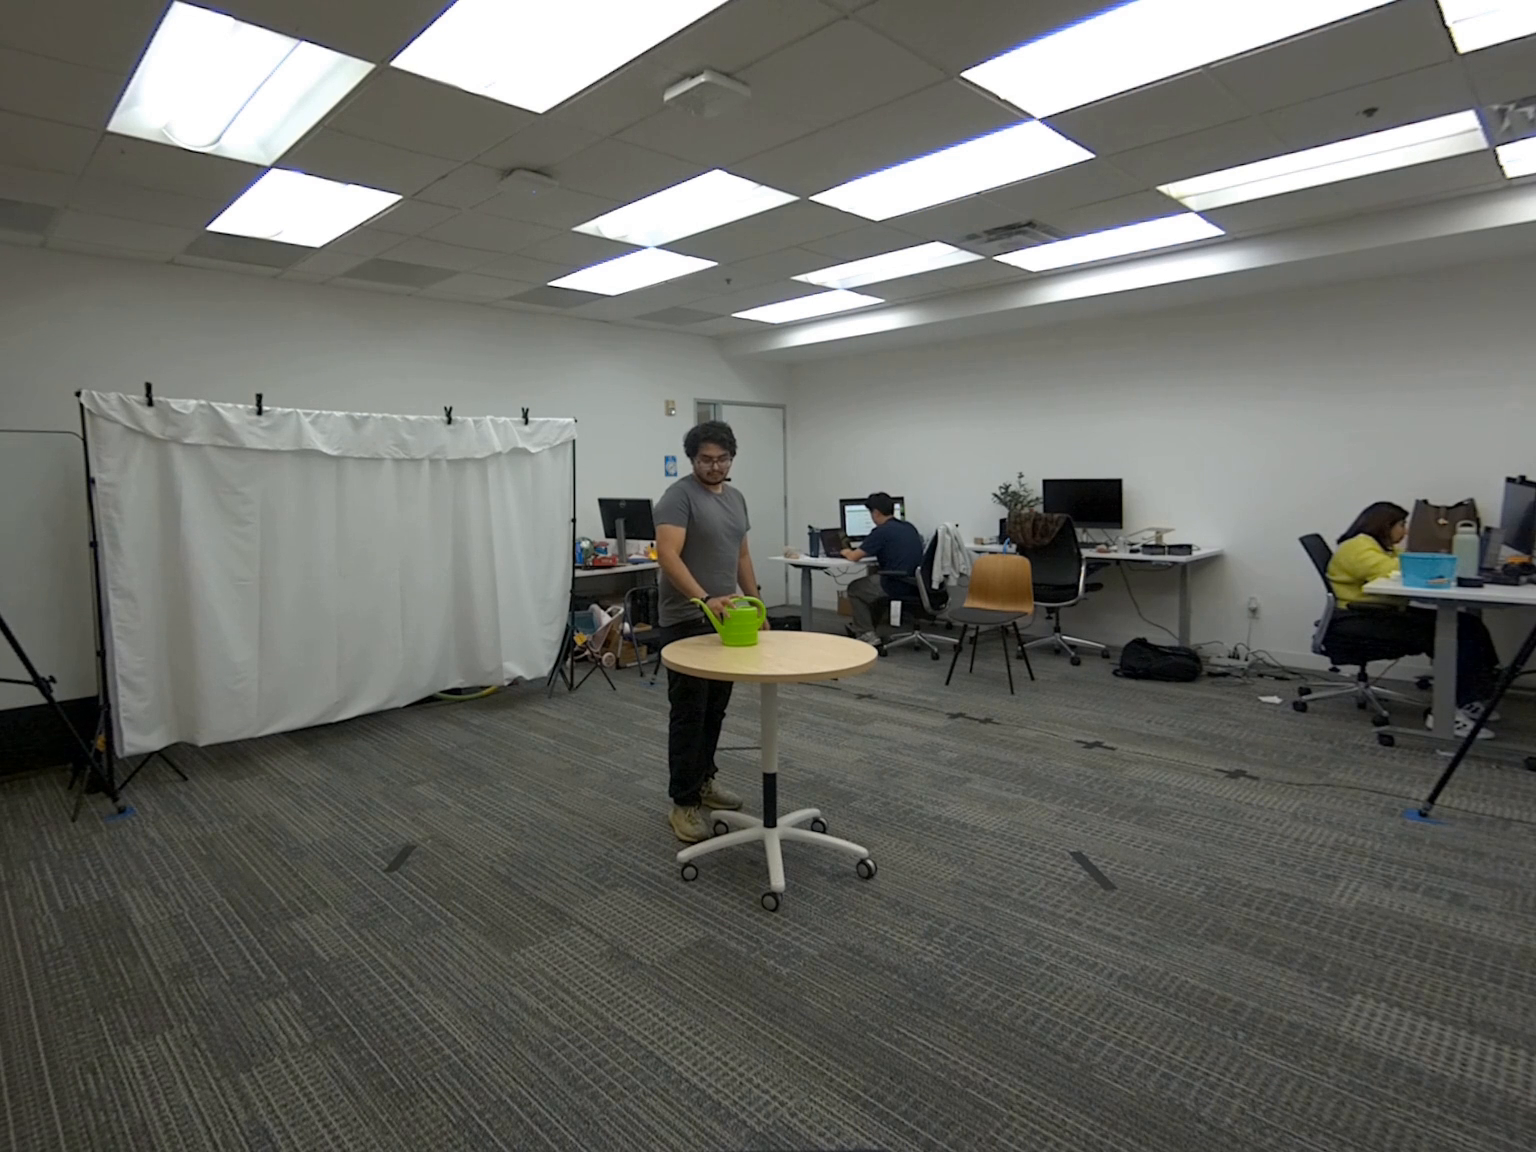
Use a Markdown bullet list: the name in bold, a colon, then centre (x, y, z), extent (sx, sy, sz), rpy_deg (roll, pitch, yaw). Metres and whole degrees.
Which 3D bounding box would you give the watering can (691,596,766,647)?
- **watering can**: centre (-0.153, 0.171, 3.152), extent (0.277, 0.176, 0.099), rpy_deg (1, 5, -3)
